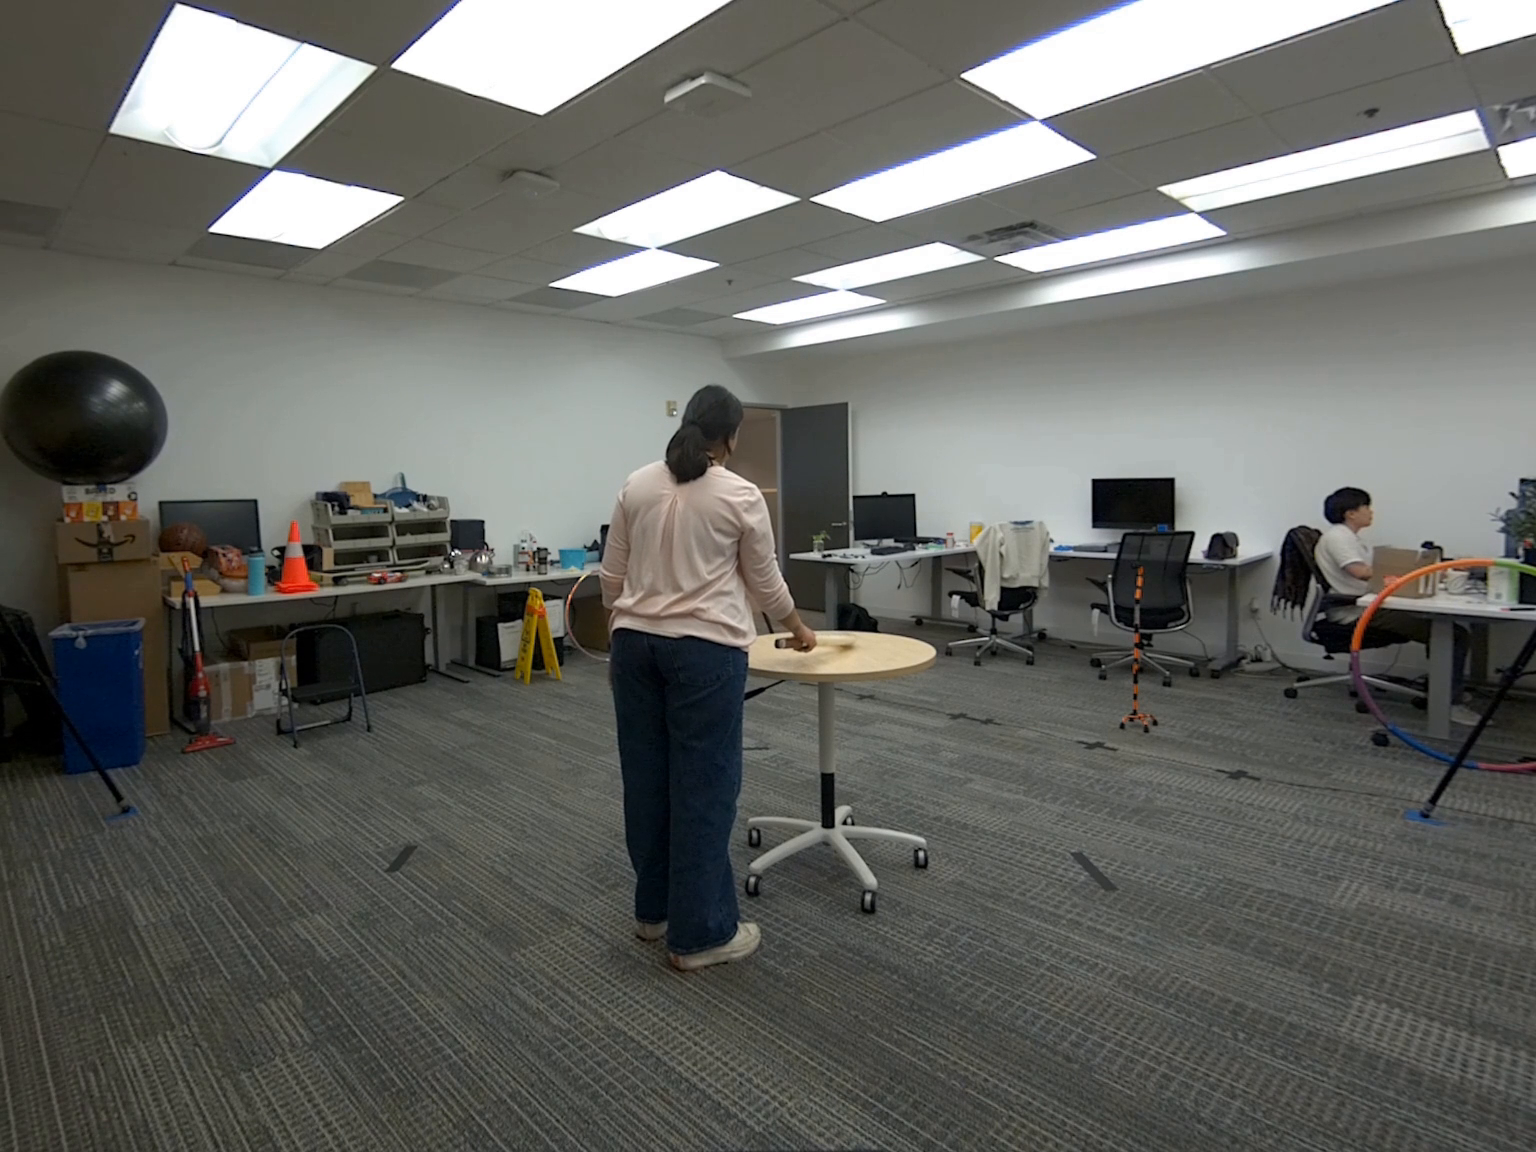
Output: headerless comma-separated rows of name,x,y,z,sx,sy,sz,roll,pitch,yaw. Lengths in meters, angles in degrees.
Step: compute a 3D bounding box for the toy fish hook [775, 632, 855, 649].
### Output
toy fish hook,0.127,0.224,2.969,0.231,0.048,0.491,0,-4,35
